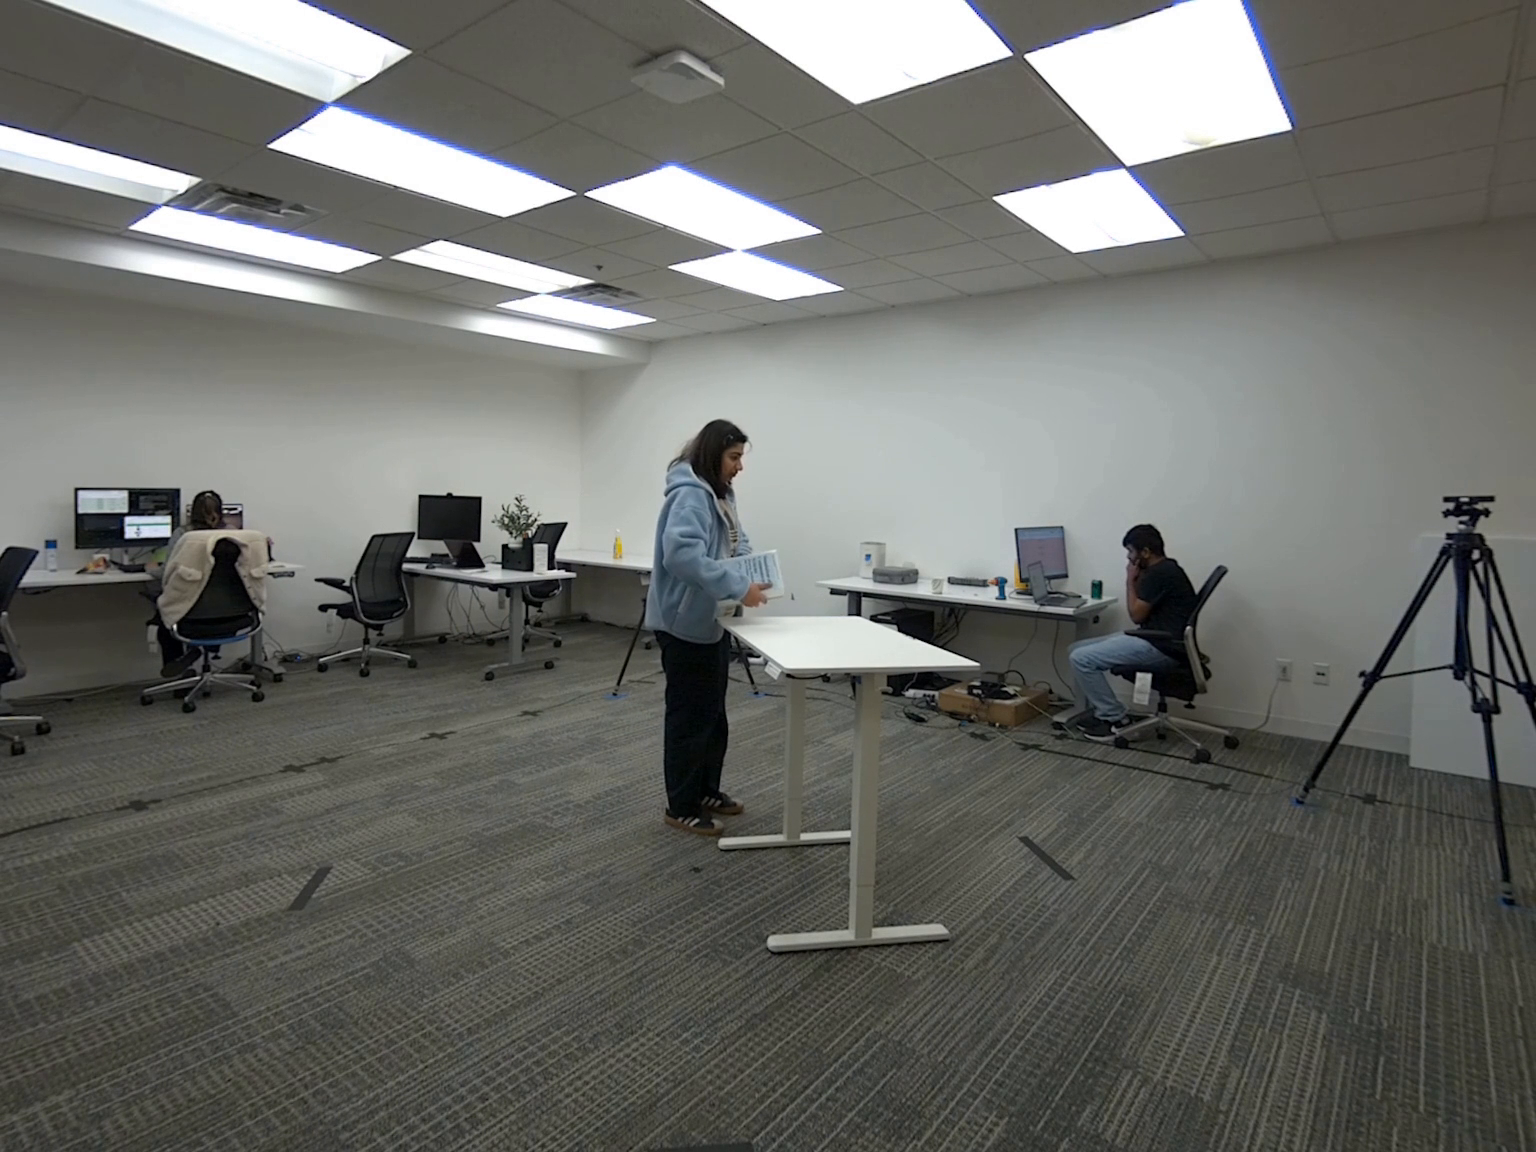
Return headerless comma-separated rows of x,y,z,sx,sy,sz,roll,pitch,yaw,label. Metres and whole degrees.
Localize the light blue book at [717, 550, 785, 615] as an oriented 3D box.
-0.087,0.002,3.255,0.262,0.197,0.057,-8,-31,2,light blue book
